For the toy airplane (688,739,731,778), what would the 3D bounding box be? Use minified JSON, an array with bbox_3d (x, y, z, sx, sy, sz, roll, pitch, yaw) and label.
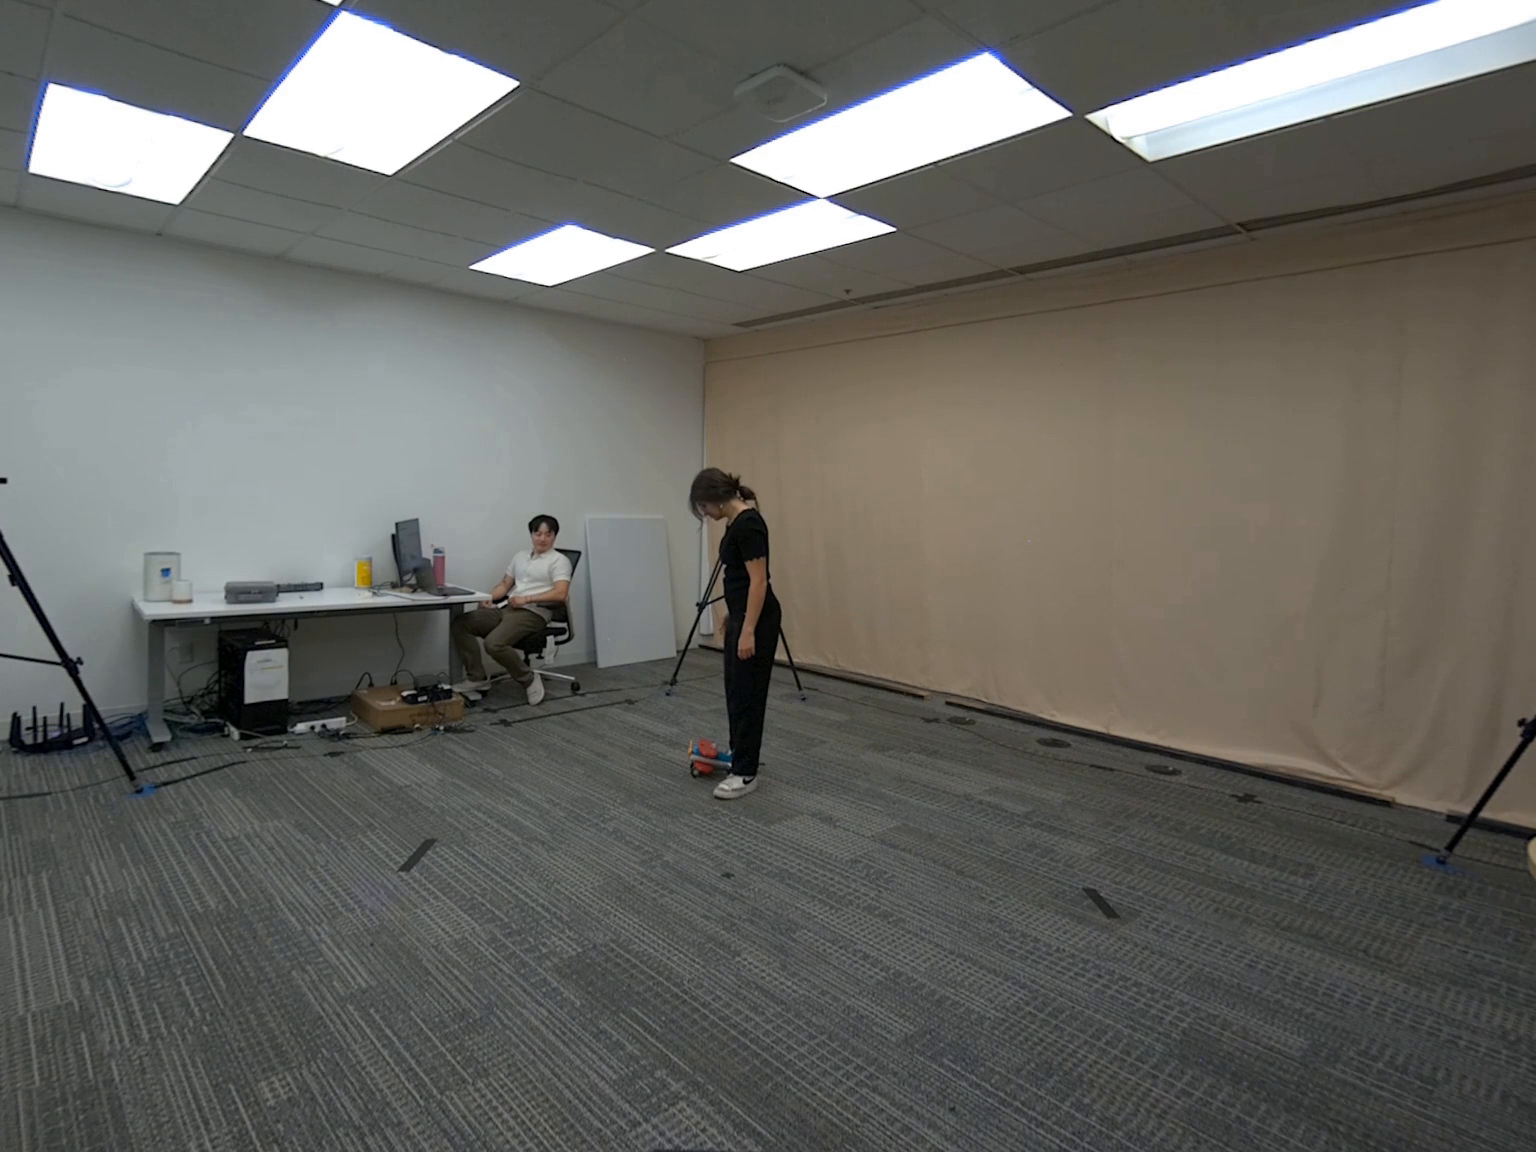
[{"bbox_3d":[-0.296,0.919,4.268,0.254,0.156,0.257,-3,7,-36],"label":"toy airplane"}]
